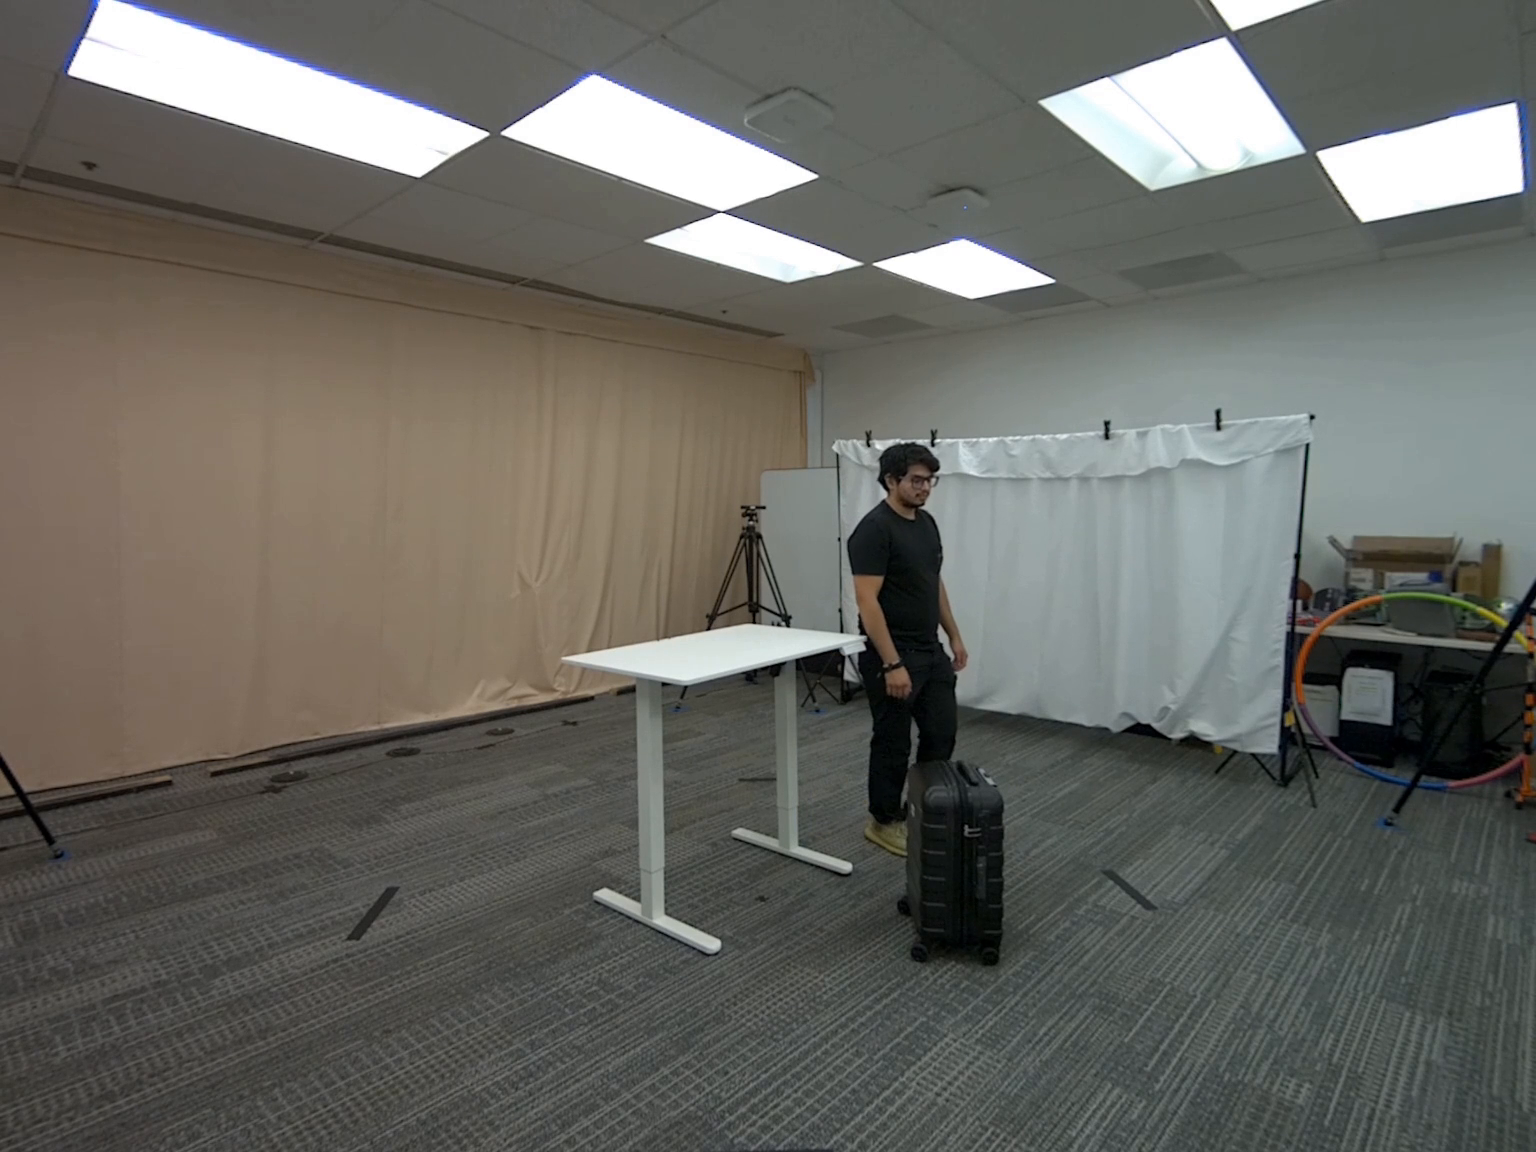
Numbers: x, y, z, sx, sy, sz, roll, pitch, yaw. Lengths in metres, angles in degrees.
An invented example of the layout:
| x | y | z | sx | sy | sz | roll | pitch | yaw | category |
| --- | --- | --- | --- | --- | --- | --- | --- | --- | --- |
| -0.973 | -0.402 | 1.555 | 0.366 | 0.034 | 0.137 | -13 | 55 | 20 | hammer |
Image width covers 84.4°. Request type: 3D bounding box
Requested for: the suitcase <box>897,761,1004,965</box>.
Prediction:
| x | y | z | sx | sy | sz | roll | pitch | yaw | category |
| --- | --- | --- | --- | --- | --- | --- | --- | --- | --- |
| 0.596 | 0.895 | 2.690 | 0.249 | 0.548 | 0.376 | 2 | 4 | 0 | suitcase |
